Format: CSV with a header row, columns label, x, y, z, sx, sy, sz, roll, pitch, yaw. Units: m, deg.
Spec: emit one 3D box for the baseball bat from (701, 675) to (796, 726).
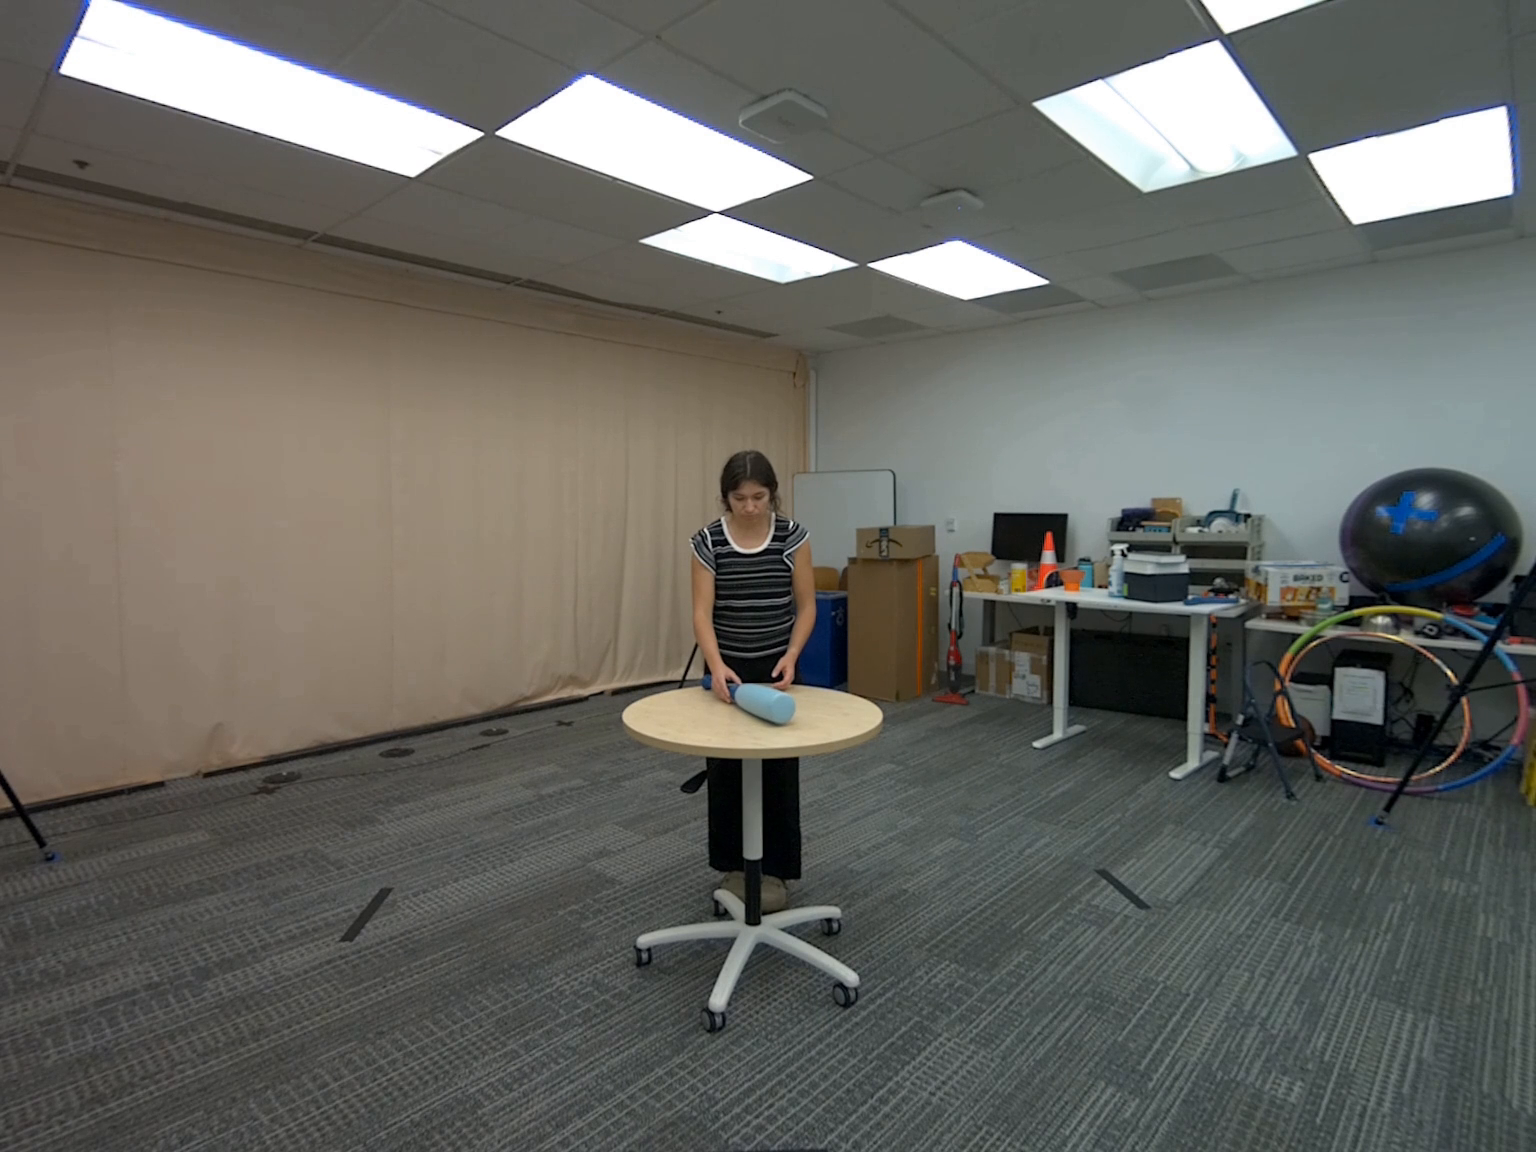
label,x,y,z,sx,sy,sz,roll,pitch,yaw
baseball bat,-0.073,0.359,2.556,0.087,0.089,0.556,-2,2,-26
